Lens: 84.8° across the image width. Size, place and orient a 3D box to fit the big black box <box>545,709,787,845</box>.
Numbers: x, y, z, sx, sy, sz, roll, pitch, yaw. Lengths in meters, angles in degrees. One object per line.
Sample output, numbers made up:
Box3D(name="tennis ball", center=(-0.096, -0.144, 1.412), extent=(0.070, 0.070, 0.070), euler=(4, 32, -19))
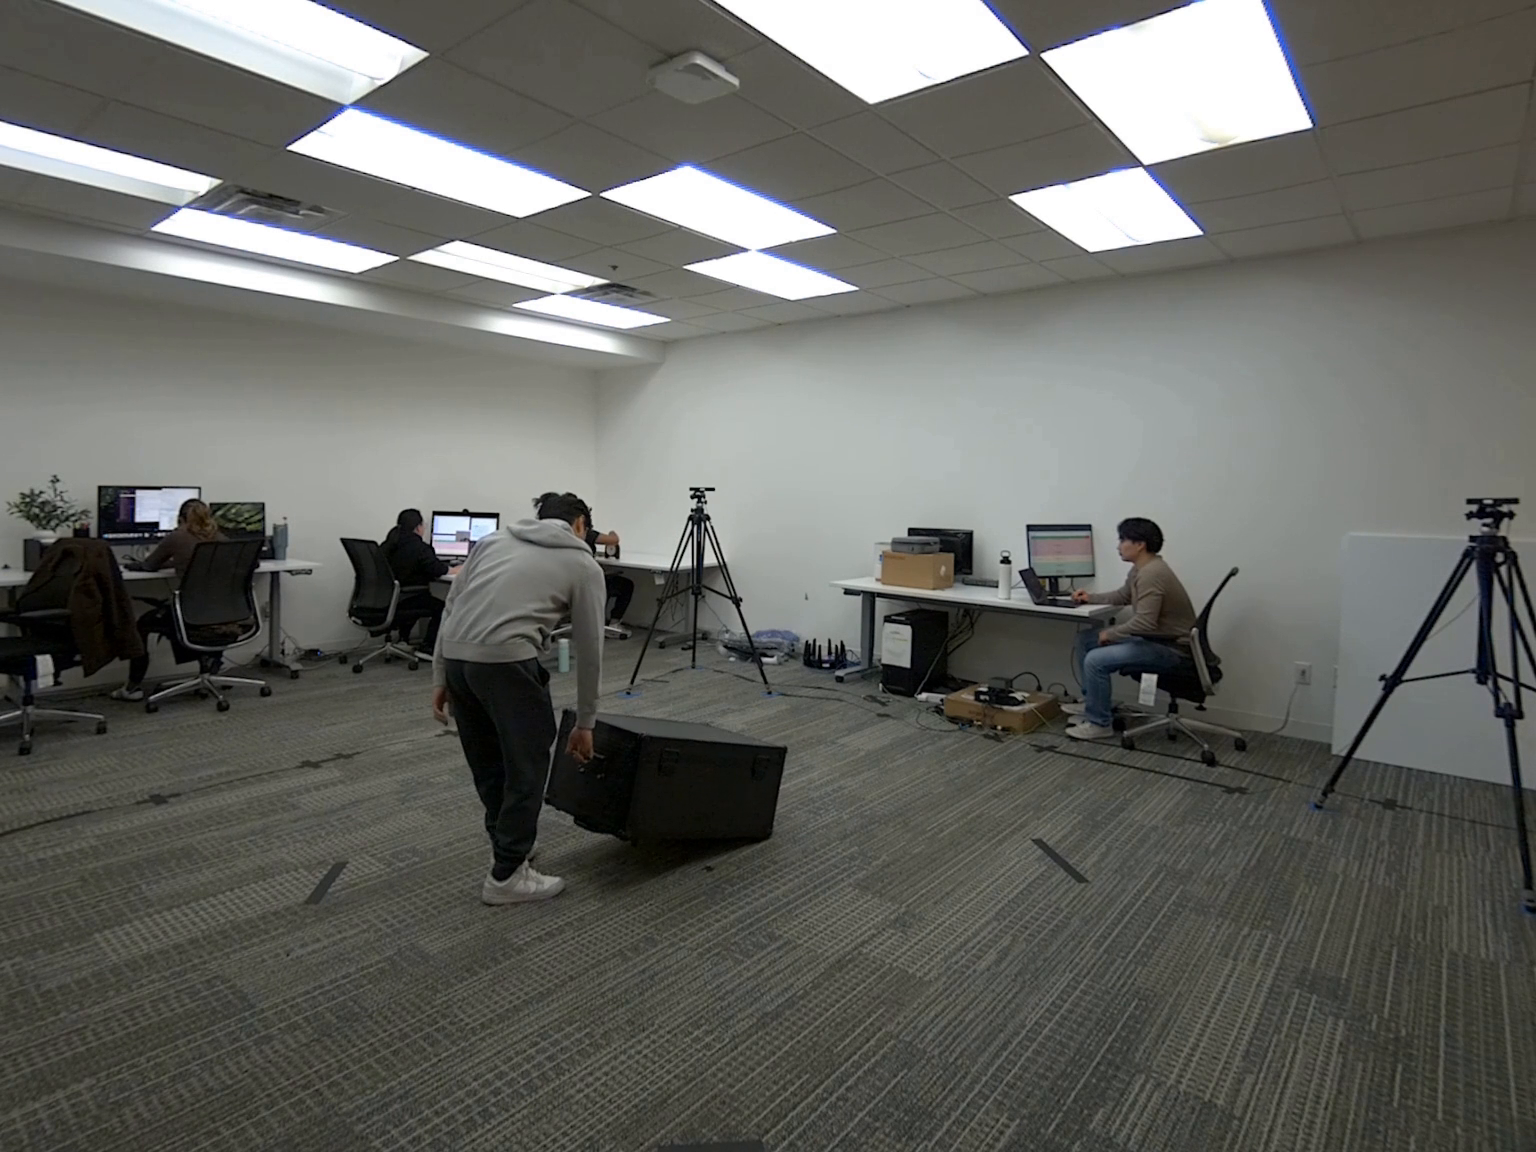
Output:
Box3D(name="big black box", center=(-0.371, 0.785, 3.330), extent=(0.539, 0.398, 0.828), euler=(4, -8, 44))
